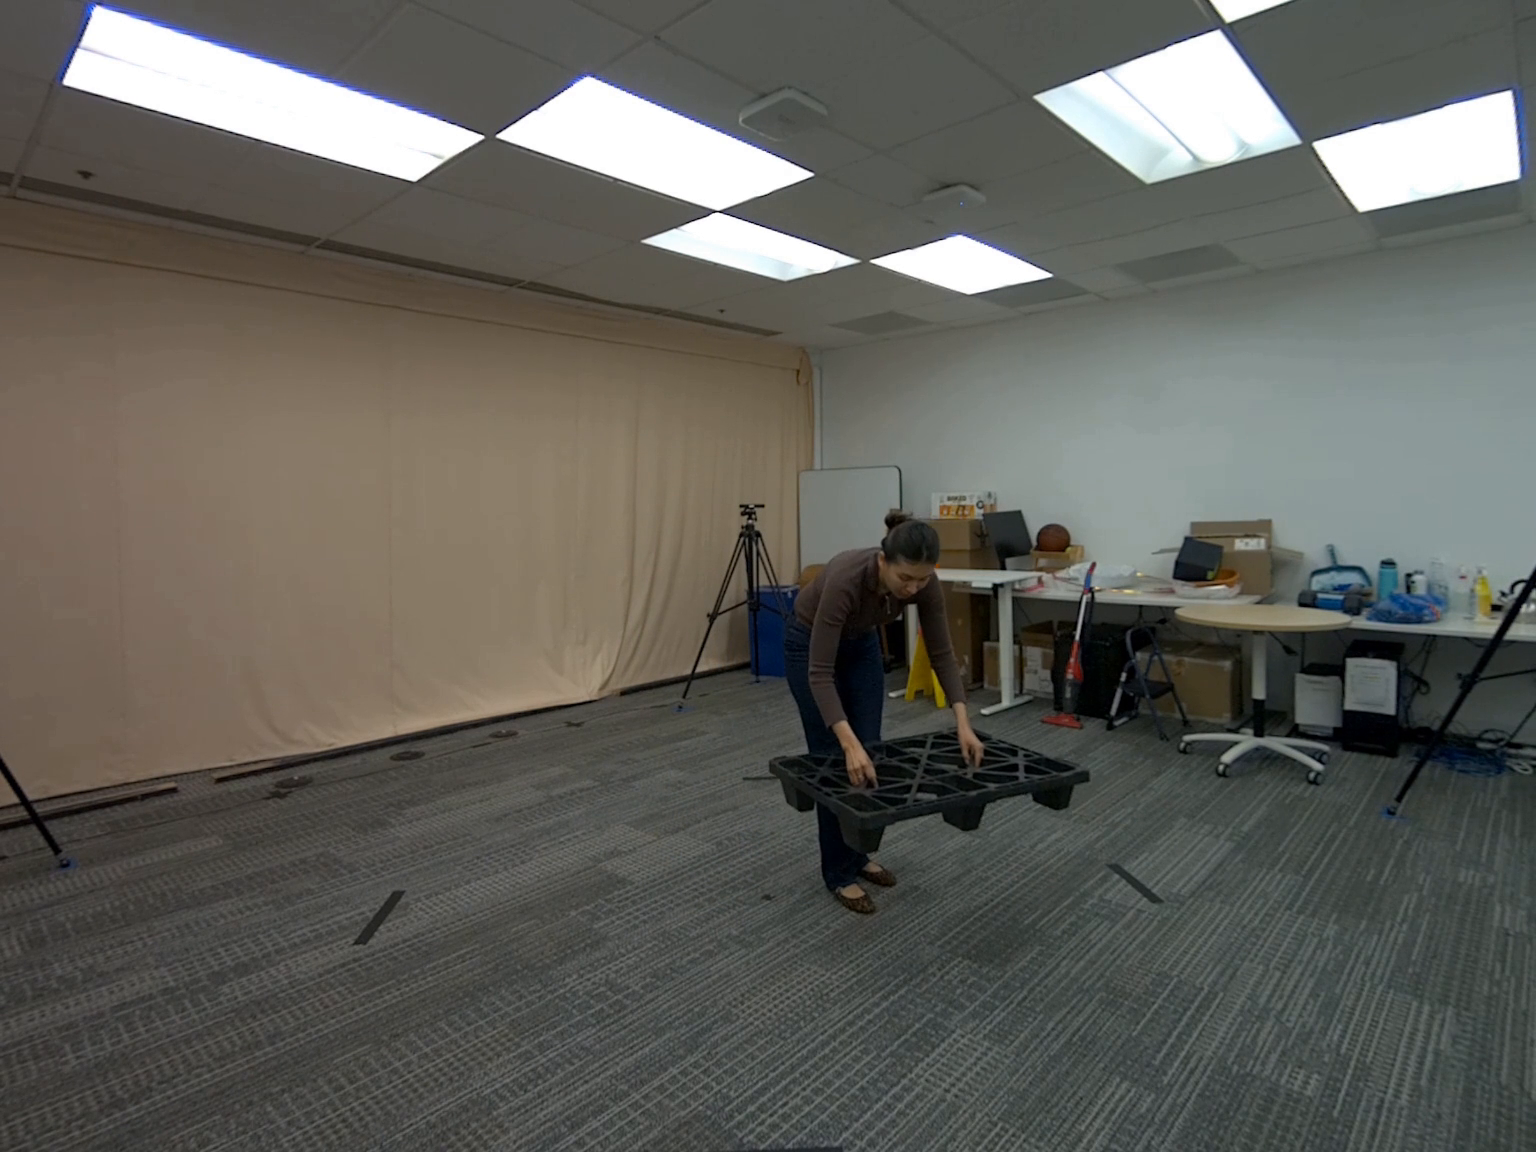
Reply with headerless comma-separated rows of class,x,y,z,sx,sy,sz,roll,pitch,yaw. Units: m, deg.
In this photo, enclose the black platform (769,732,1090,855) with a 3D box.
black platform,0.498,0.664,2.649,0.789,0.143,0.620,-5,6,-23
